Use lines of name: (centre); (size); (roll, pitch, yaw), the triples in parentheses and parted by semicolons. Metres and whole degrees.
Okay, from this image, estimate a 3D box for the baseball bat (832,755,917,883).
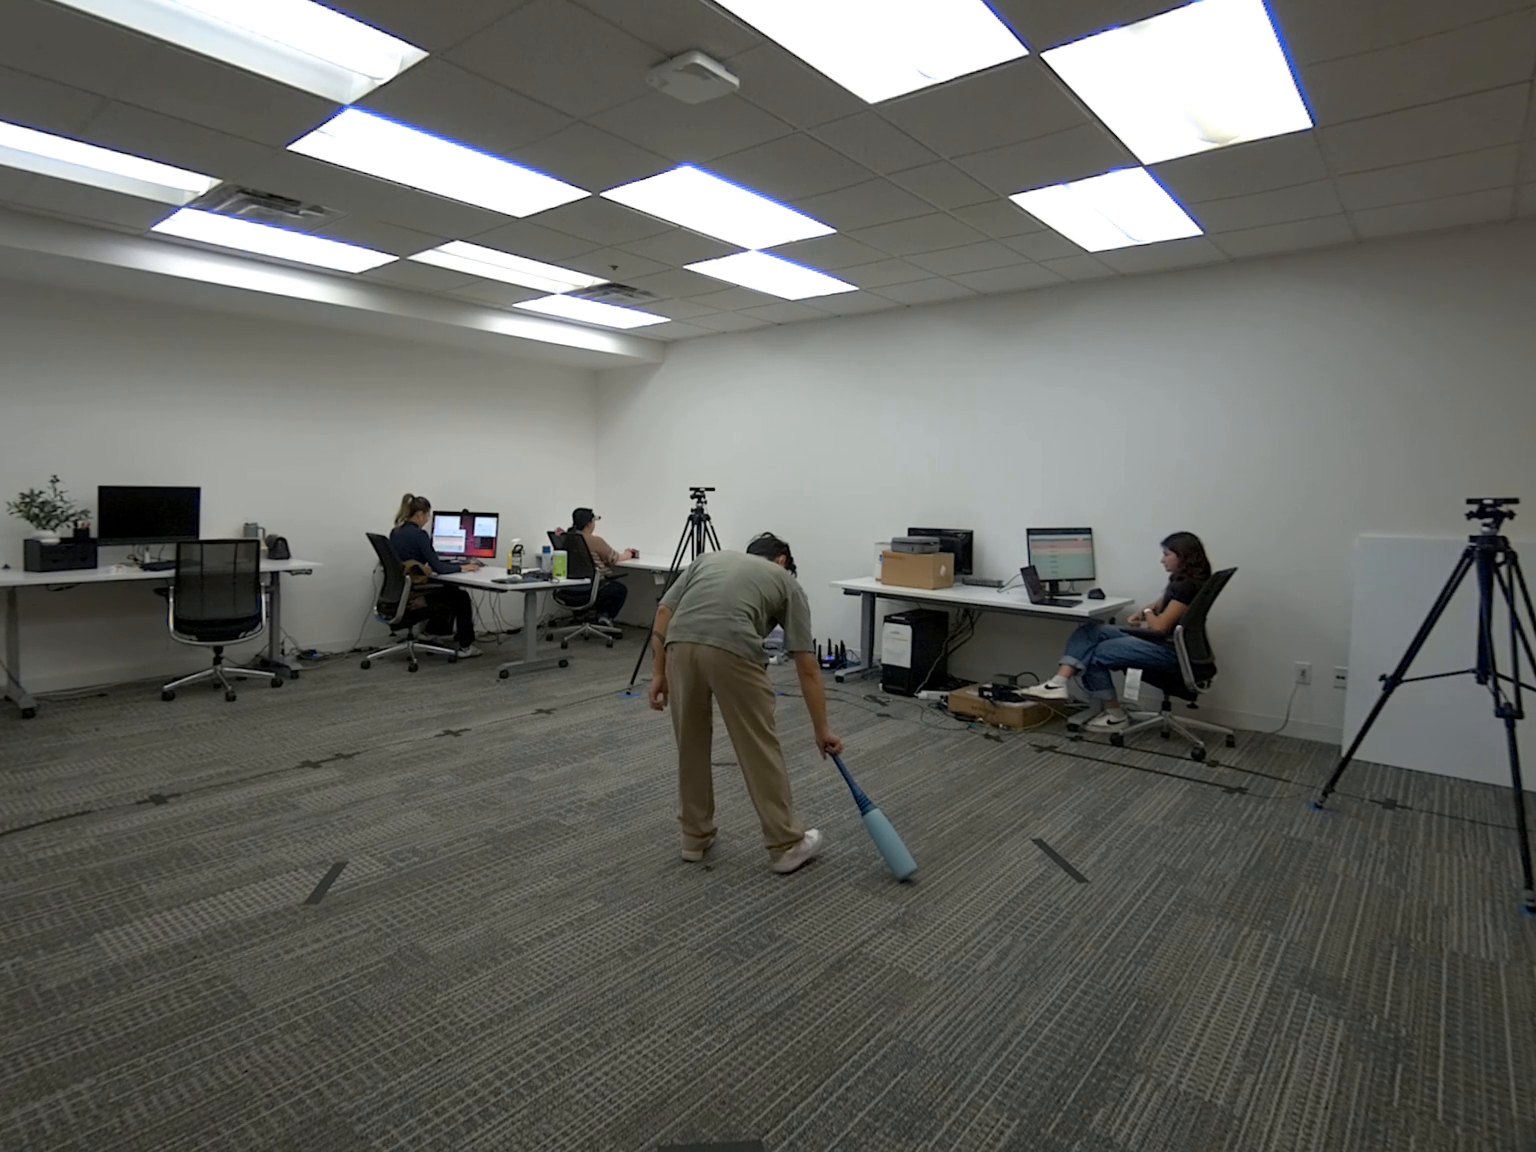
baseball bat: (0.364, 0.869, 3.166); (0.088, 0.562, 0.087); (-25, -29, -16)
